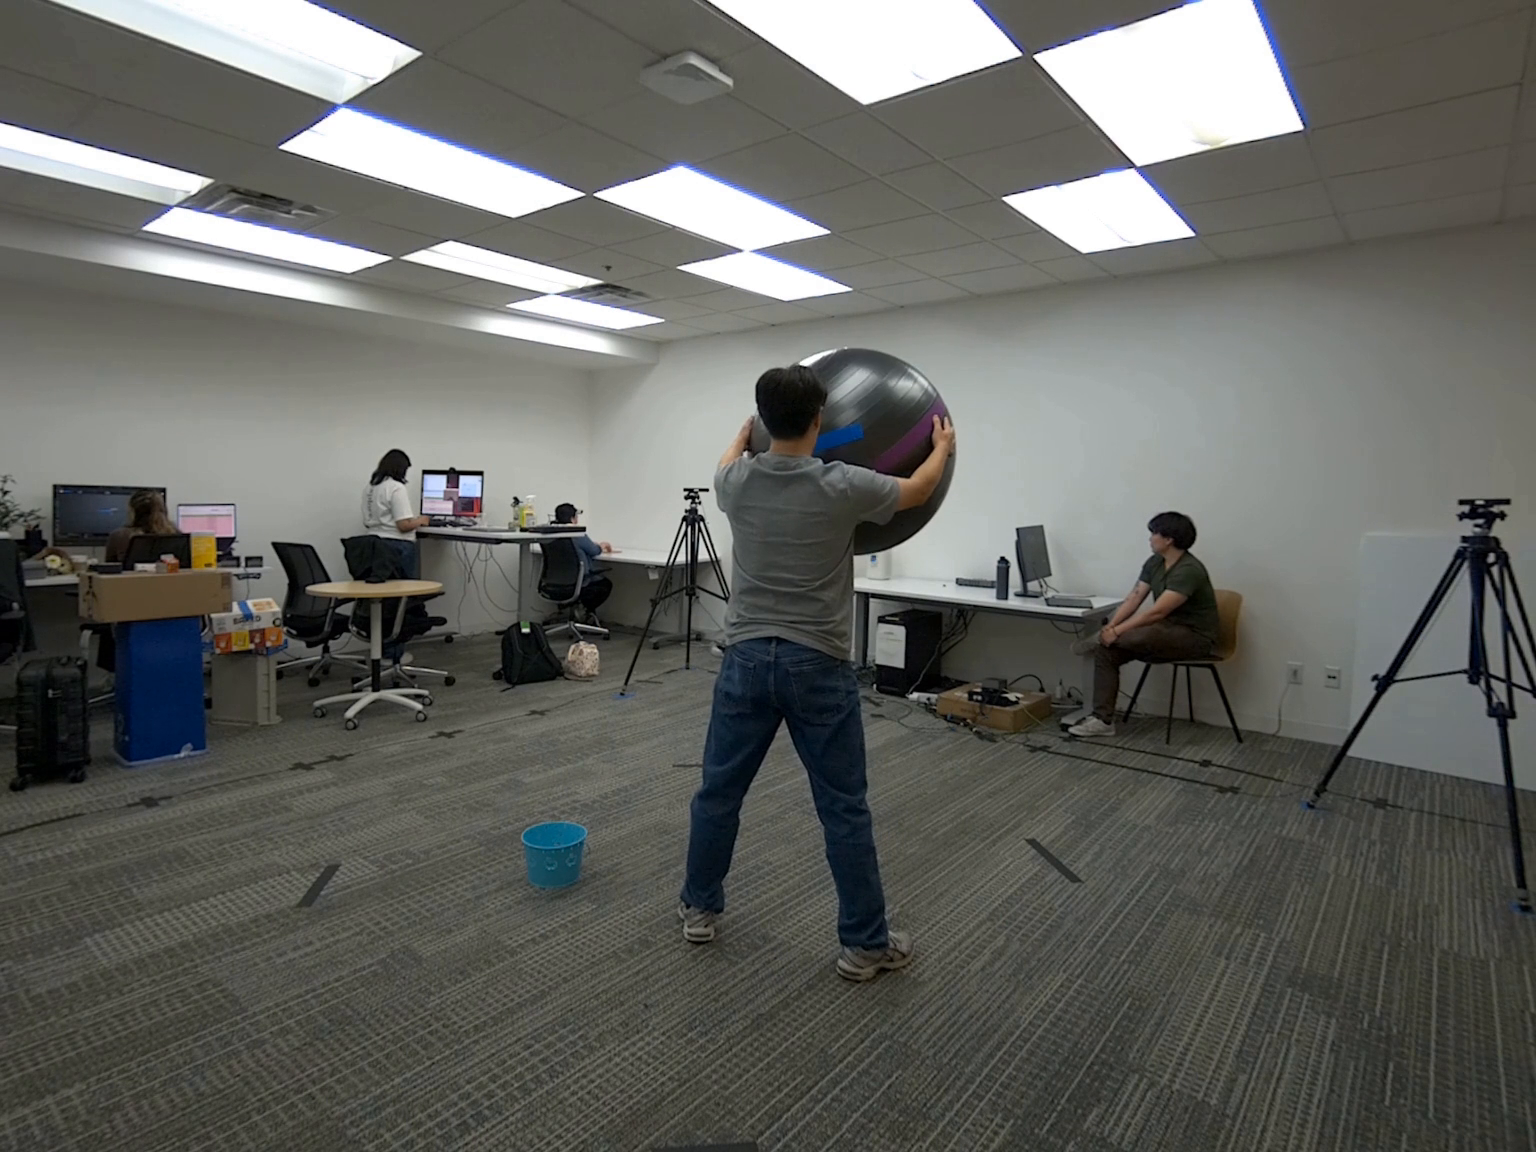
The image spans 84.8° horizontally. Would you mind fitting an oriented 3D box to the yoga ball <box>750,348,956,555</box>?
[{"bbox_3d":[0.298,-0.432,3.137,0.757,0.755,0.762,1,4,-2],"label":"yoga ball"}]
